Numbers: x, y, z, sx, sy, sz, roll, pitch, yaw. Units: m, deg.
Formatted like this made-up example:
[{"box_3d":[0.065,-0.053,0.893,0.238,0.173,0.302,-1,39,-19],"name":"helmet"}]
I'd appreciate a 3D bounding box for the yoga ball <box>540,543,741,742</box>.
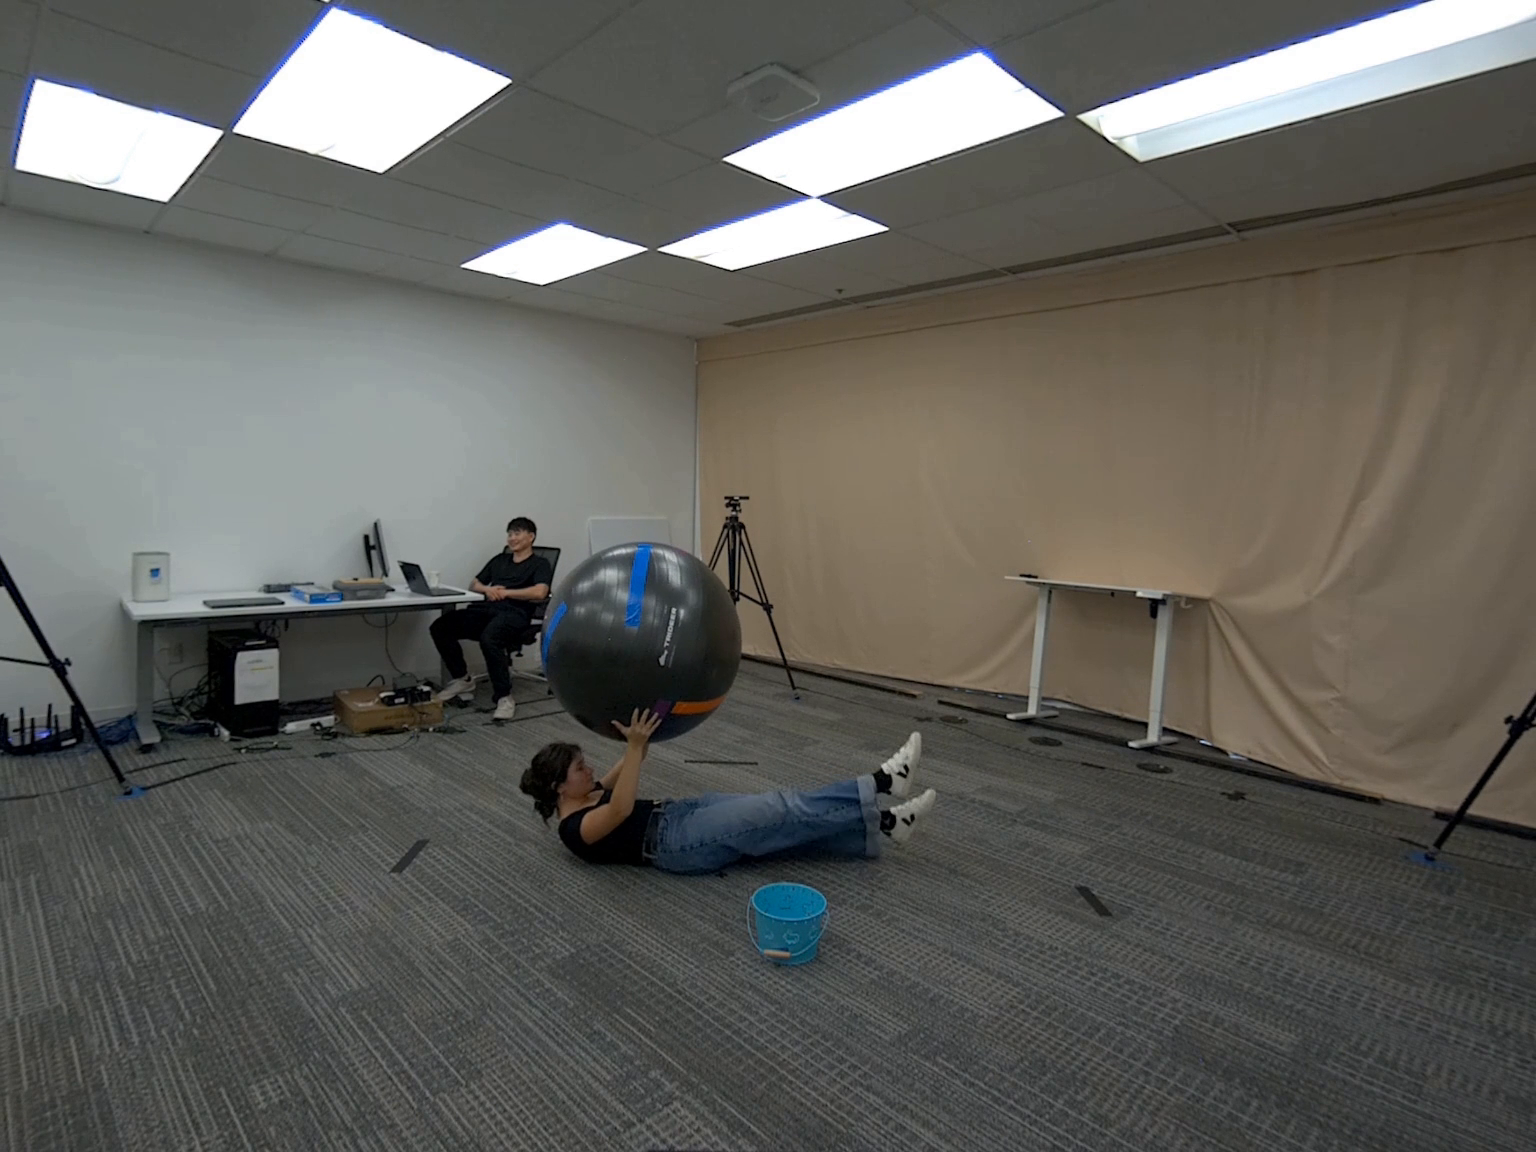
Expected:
[{"box_3d":[-0.482,0.250,3.197,0.757,0.756,0.761,1,4,-1],"name":"yoga ball"}]
